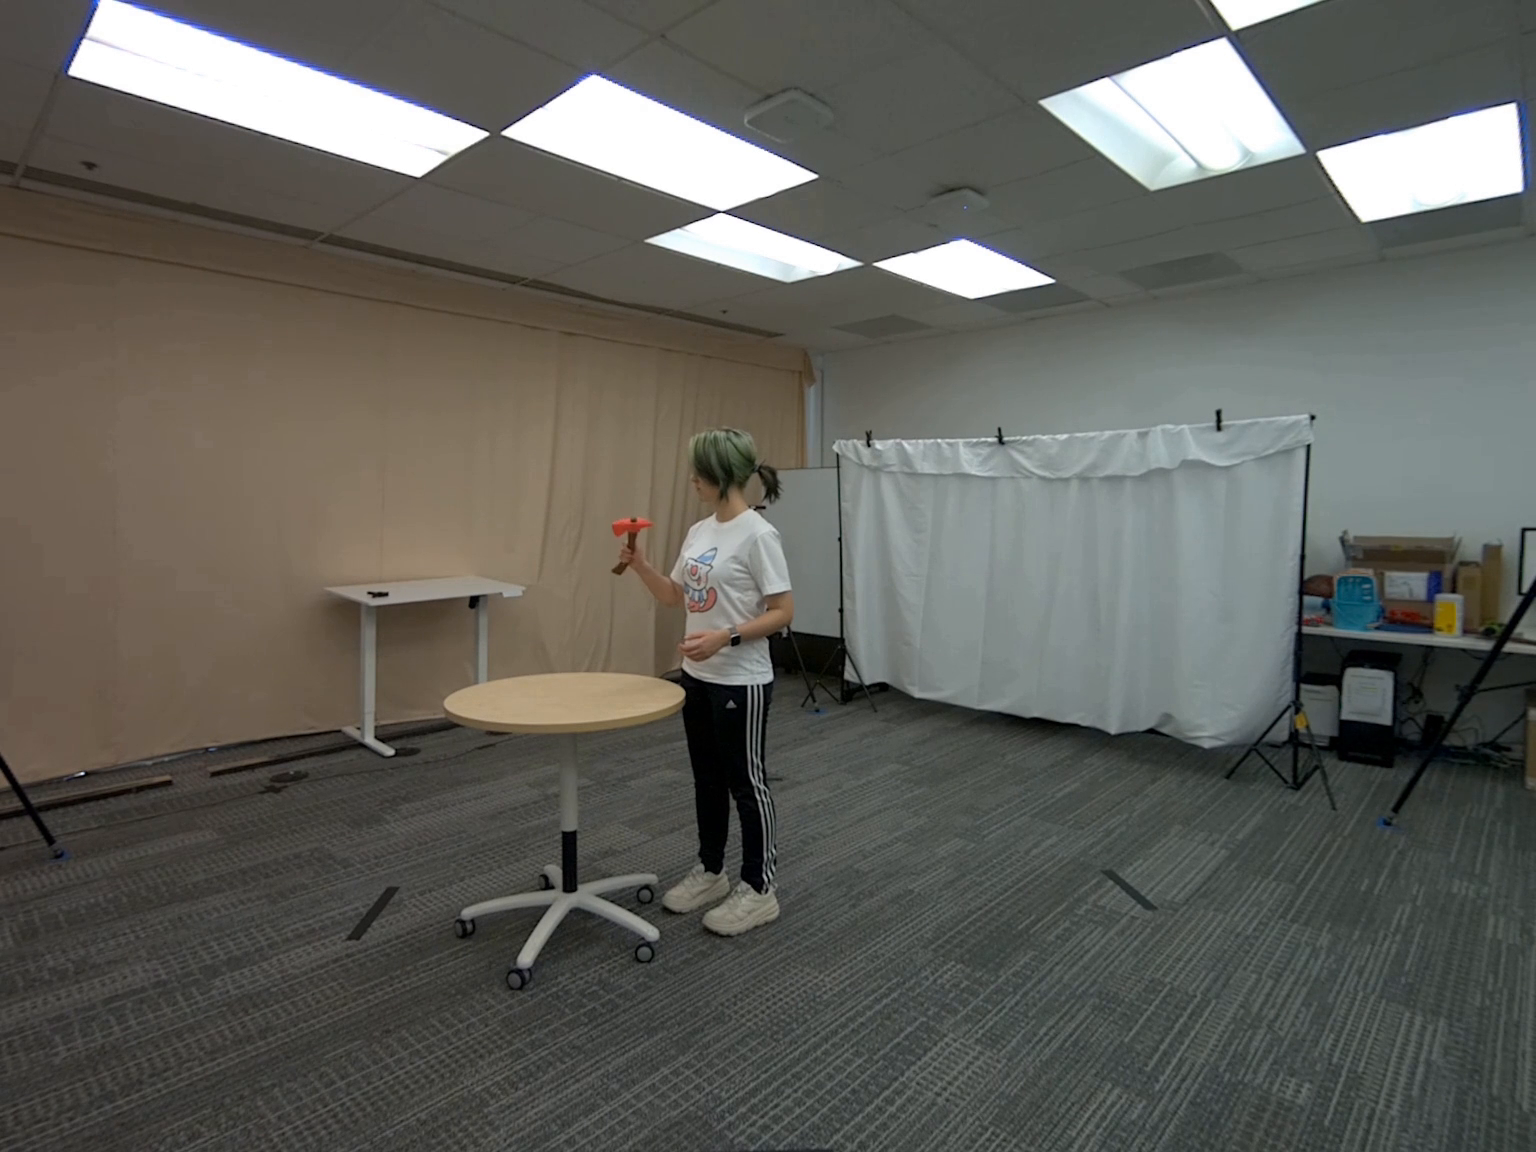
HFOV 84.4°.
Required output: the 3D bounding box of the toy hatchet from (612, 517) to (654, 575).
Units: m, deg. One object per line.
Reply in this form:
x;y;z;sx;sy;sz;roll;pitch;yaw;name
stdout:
-0.491;-0.098;2.812;0.127;0.030;0.271;13;-47;-30;toy hatchet
